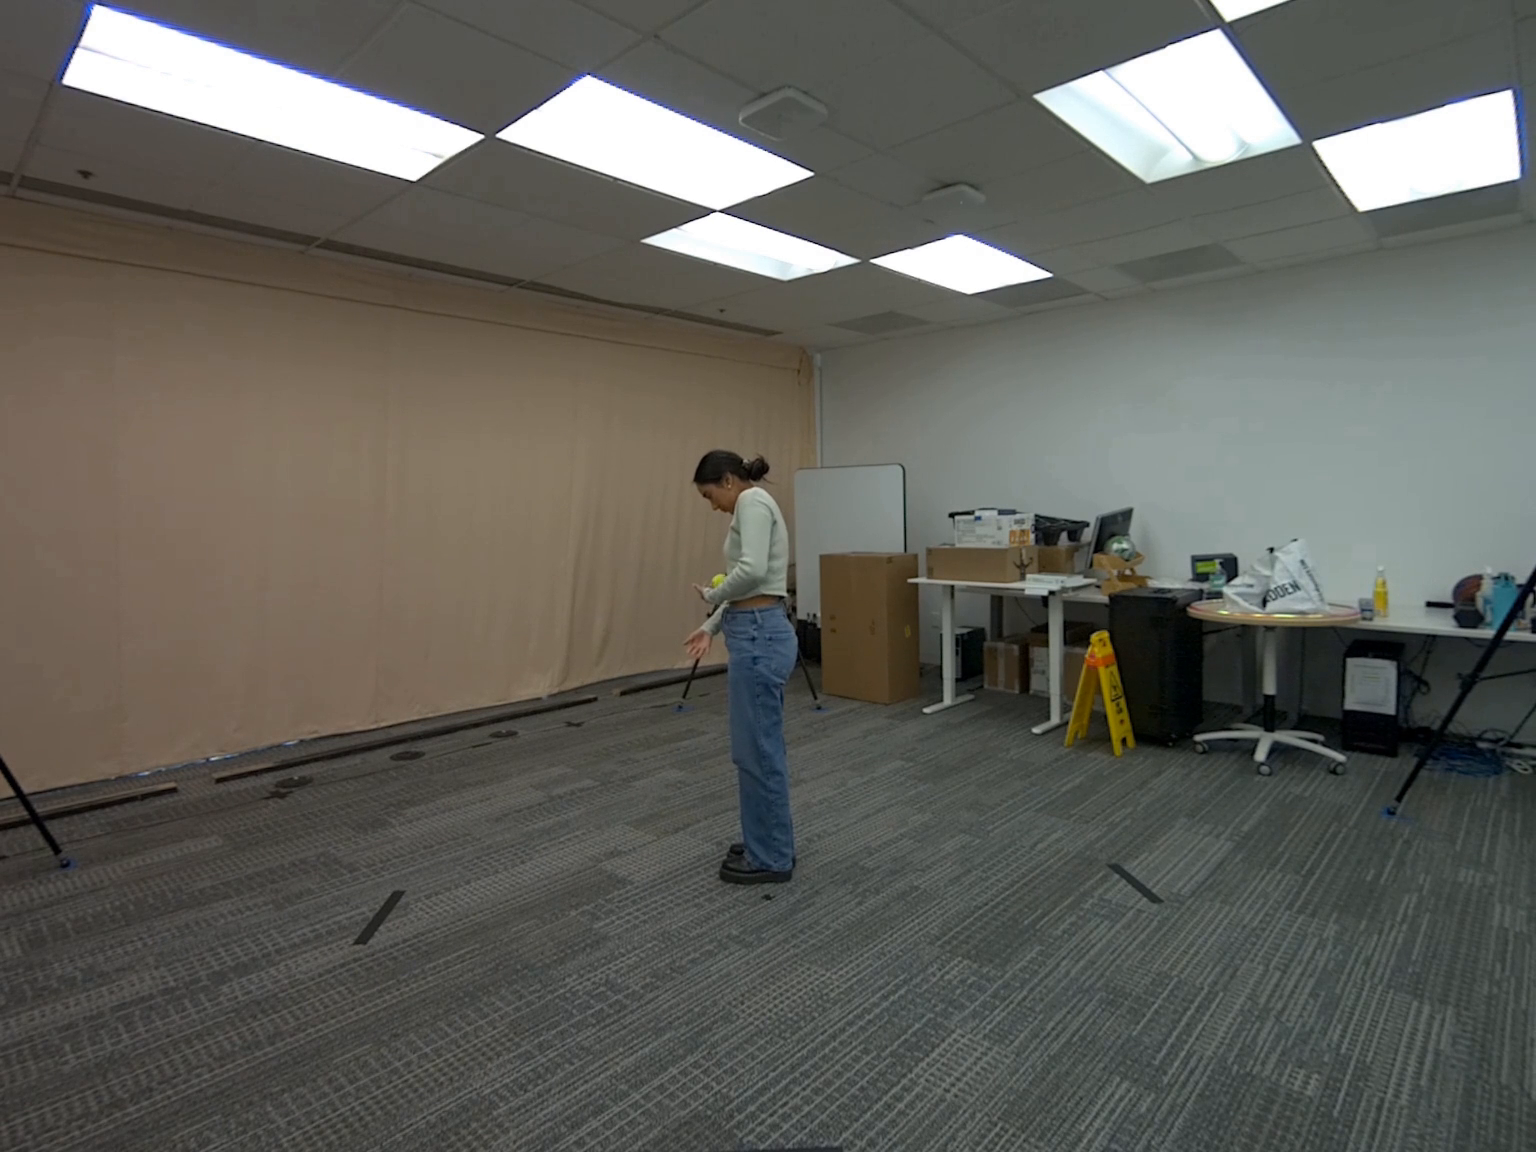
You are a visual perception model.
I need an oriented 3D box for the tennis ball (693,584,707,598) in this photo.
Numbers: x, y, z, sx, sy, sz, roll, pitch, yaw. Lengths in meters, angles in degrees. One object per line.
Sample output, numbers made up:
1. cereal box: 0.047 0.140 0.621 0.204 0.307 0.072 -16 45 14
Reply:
1. tennis ball: -0.208 0.078 3.097 0.066 0.066 0.067 -1 4 -2
